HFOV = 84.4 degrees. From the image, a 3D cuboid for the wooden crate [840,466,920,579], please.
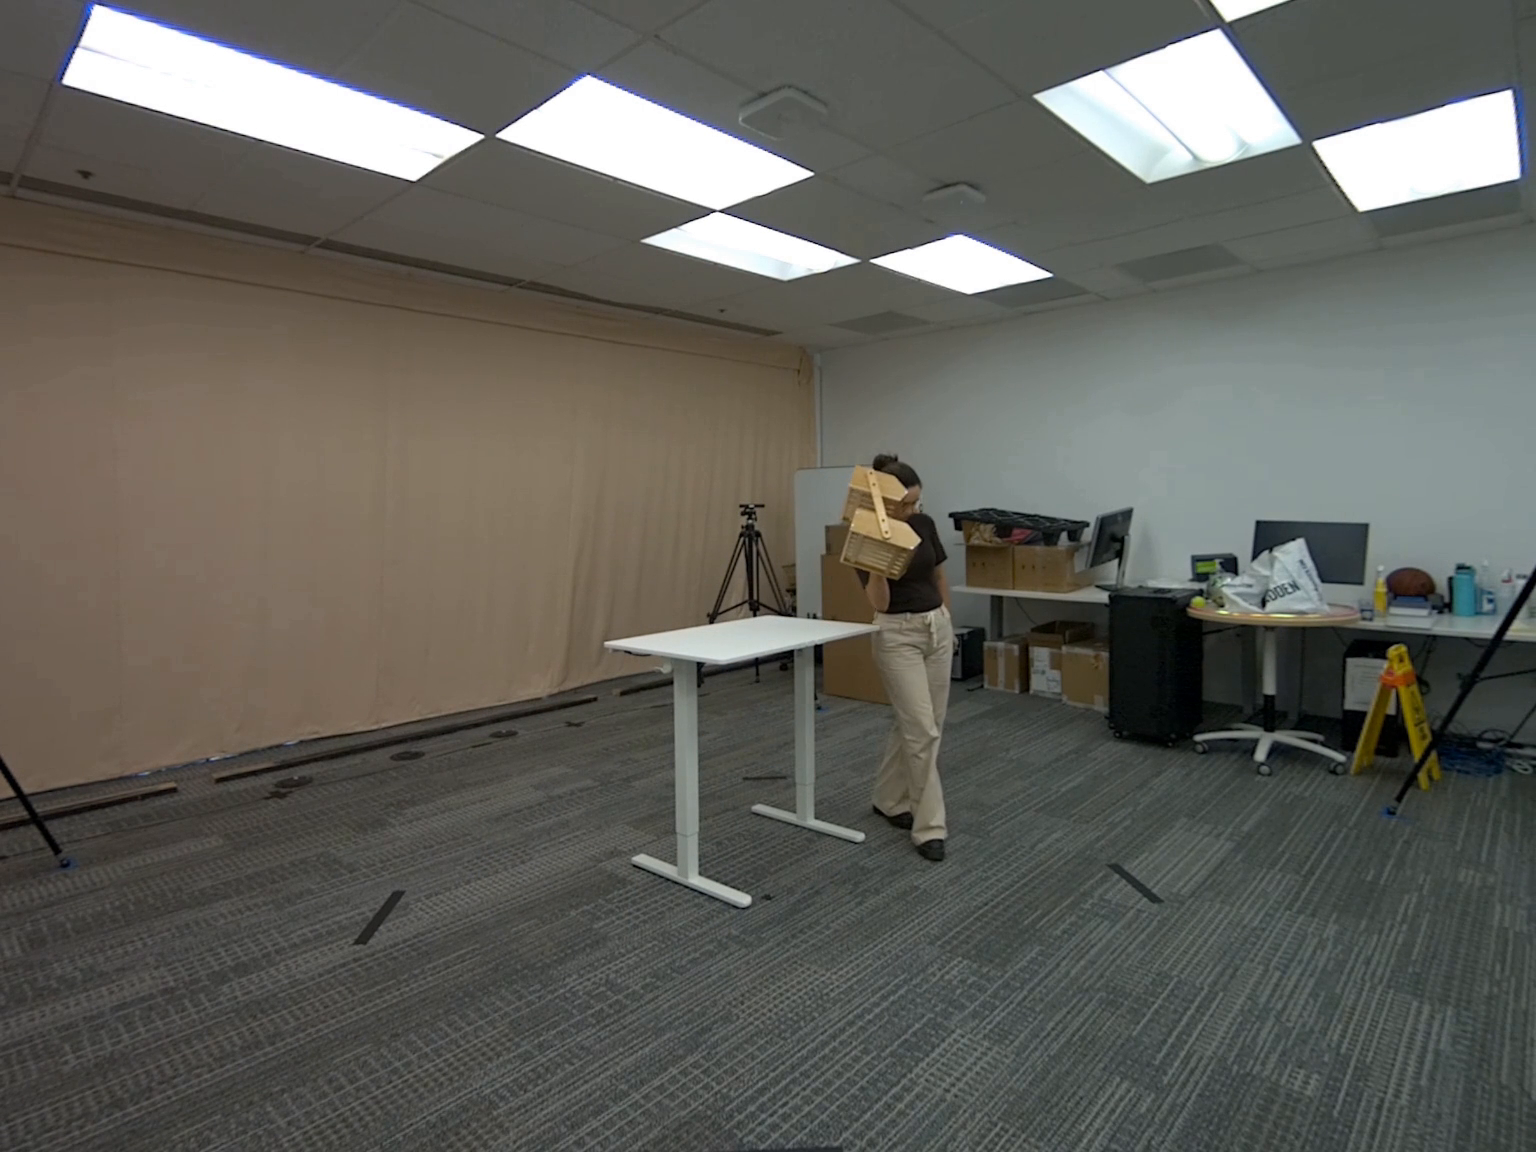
[{"bbox_3d":[0.422,-0.198,3.164,0.305,0.274,0.320,18,-20,7],"label":"wooden crate"}]
